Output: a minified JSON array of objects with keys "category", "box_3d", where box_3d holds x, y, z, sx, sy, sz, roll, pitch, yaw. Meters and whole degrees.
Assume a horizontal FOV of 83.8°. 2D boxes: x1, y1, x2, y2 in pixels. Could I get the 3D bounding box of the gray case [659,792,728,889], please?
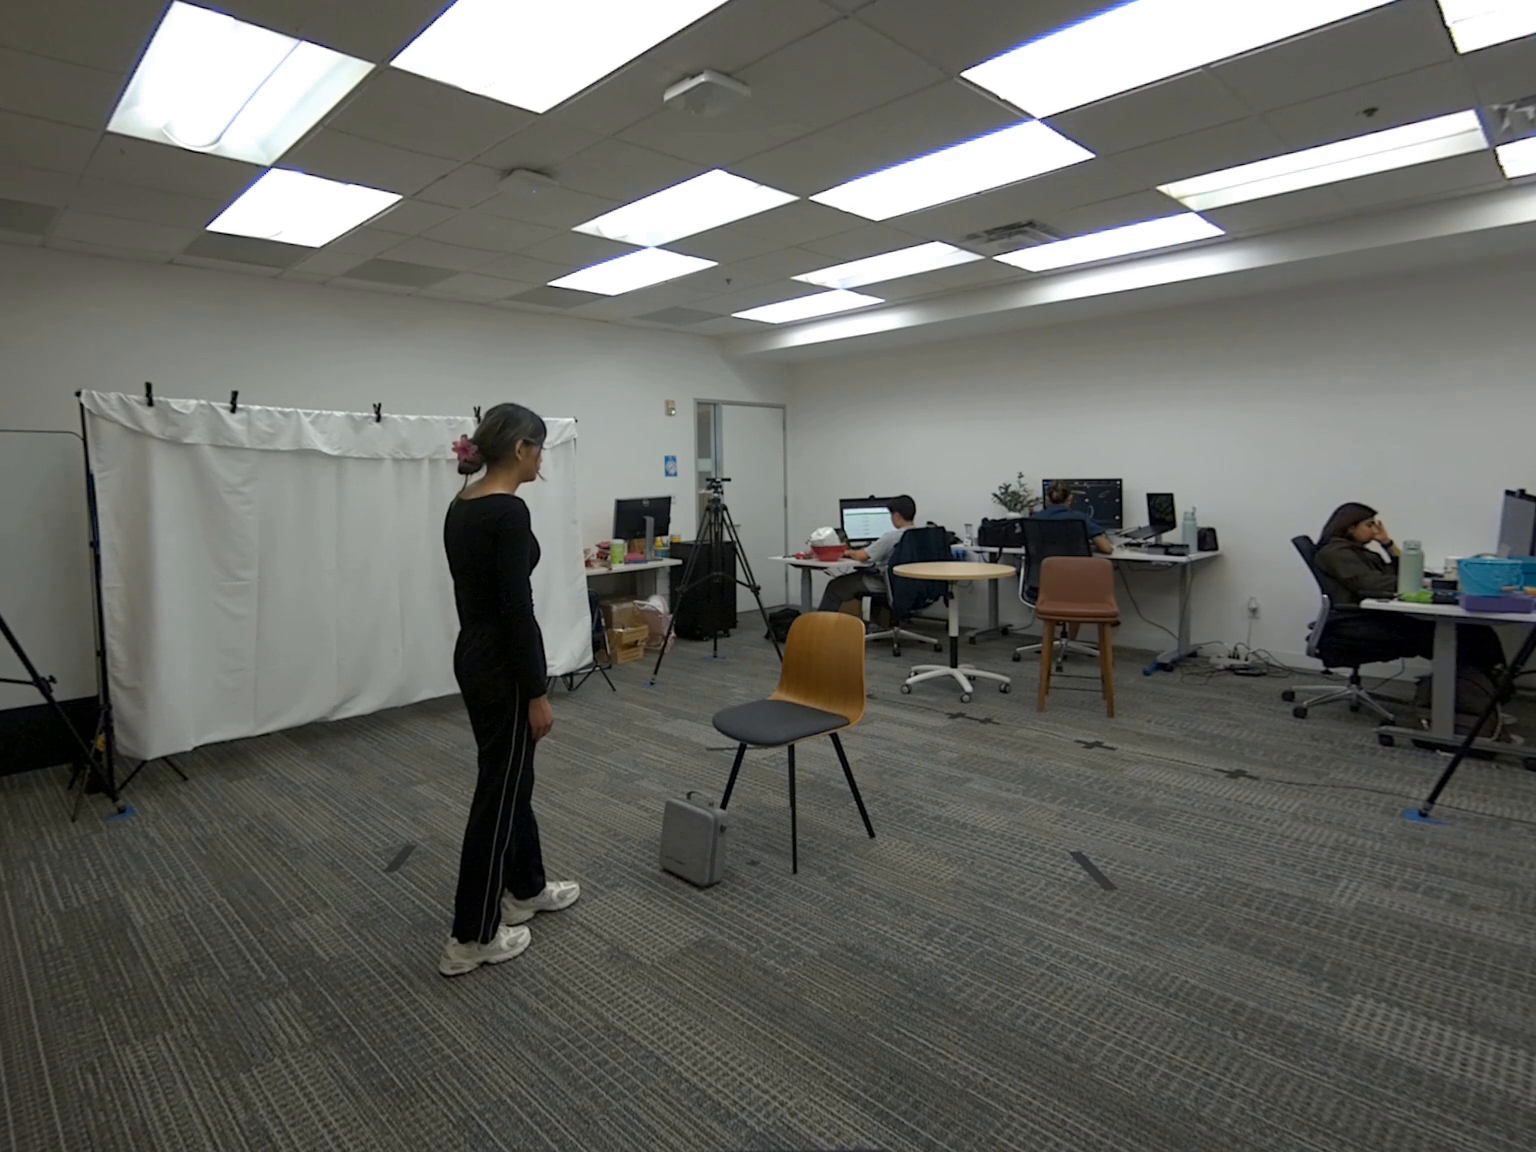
[{"category":"gray case","box_3d":[-0.260,0.925,3.016,0.265,0.261,0.101,5,-3,45]}]
